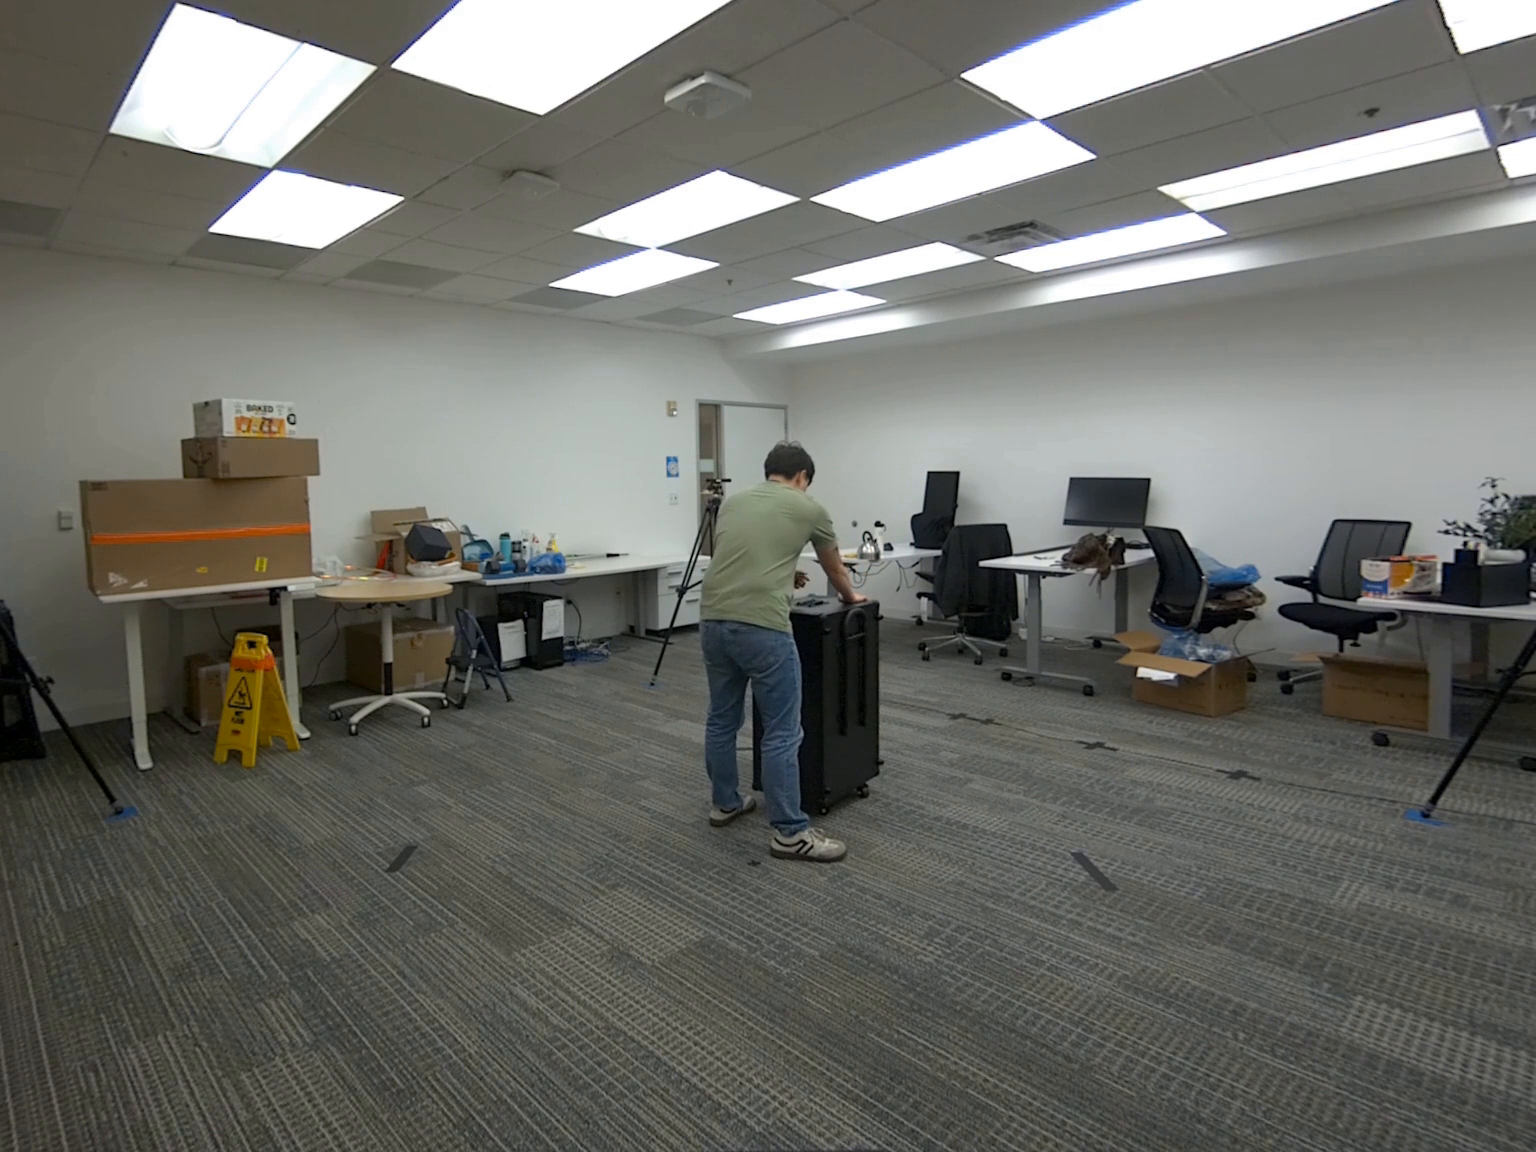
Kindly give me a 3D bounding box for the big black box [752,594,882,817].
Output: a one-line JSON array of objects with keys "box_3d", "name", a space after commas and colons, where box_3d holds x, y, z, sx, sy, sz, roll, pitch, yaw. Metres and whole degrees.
[{"box_3d": [0.227, 0.547, 3.708, 0.408, 0.858, 0.508, 3, 6, 37], "name": "big black box"}]
